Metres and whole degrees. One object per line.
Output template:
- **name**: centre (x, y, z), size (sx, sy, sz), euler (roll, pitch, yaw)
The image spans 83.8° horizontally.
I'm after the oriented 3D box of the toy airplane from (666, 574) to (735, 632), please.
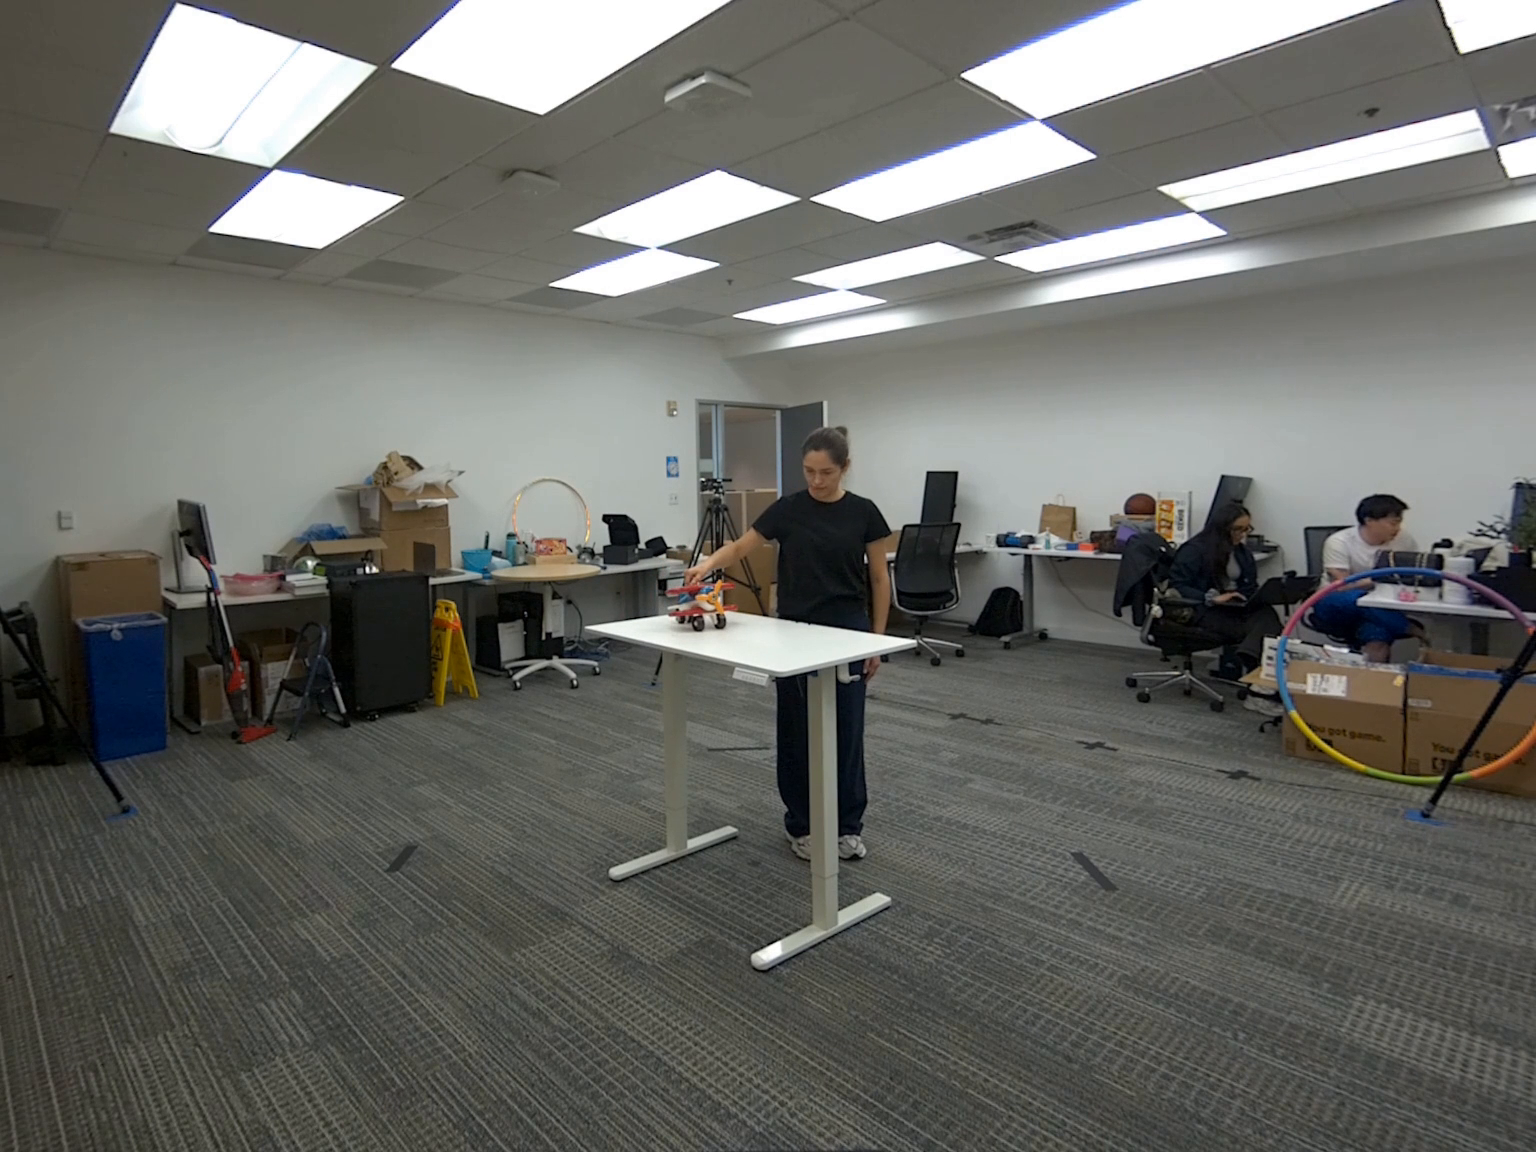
- **toy airplane**: centre (-0.264, 0.101, 3.005), size (0.266, 0.156, 0.245), euler (4, 7, 30)
